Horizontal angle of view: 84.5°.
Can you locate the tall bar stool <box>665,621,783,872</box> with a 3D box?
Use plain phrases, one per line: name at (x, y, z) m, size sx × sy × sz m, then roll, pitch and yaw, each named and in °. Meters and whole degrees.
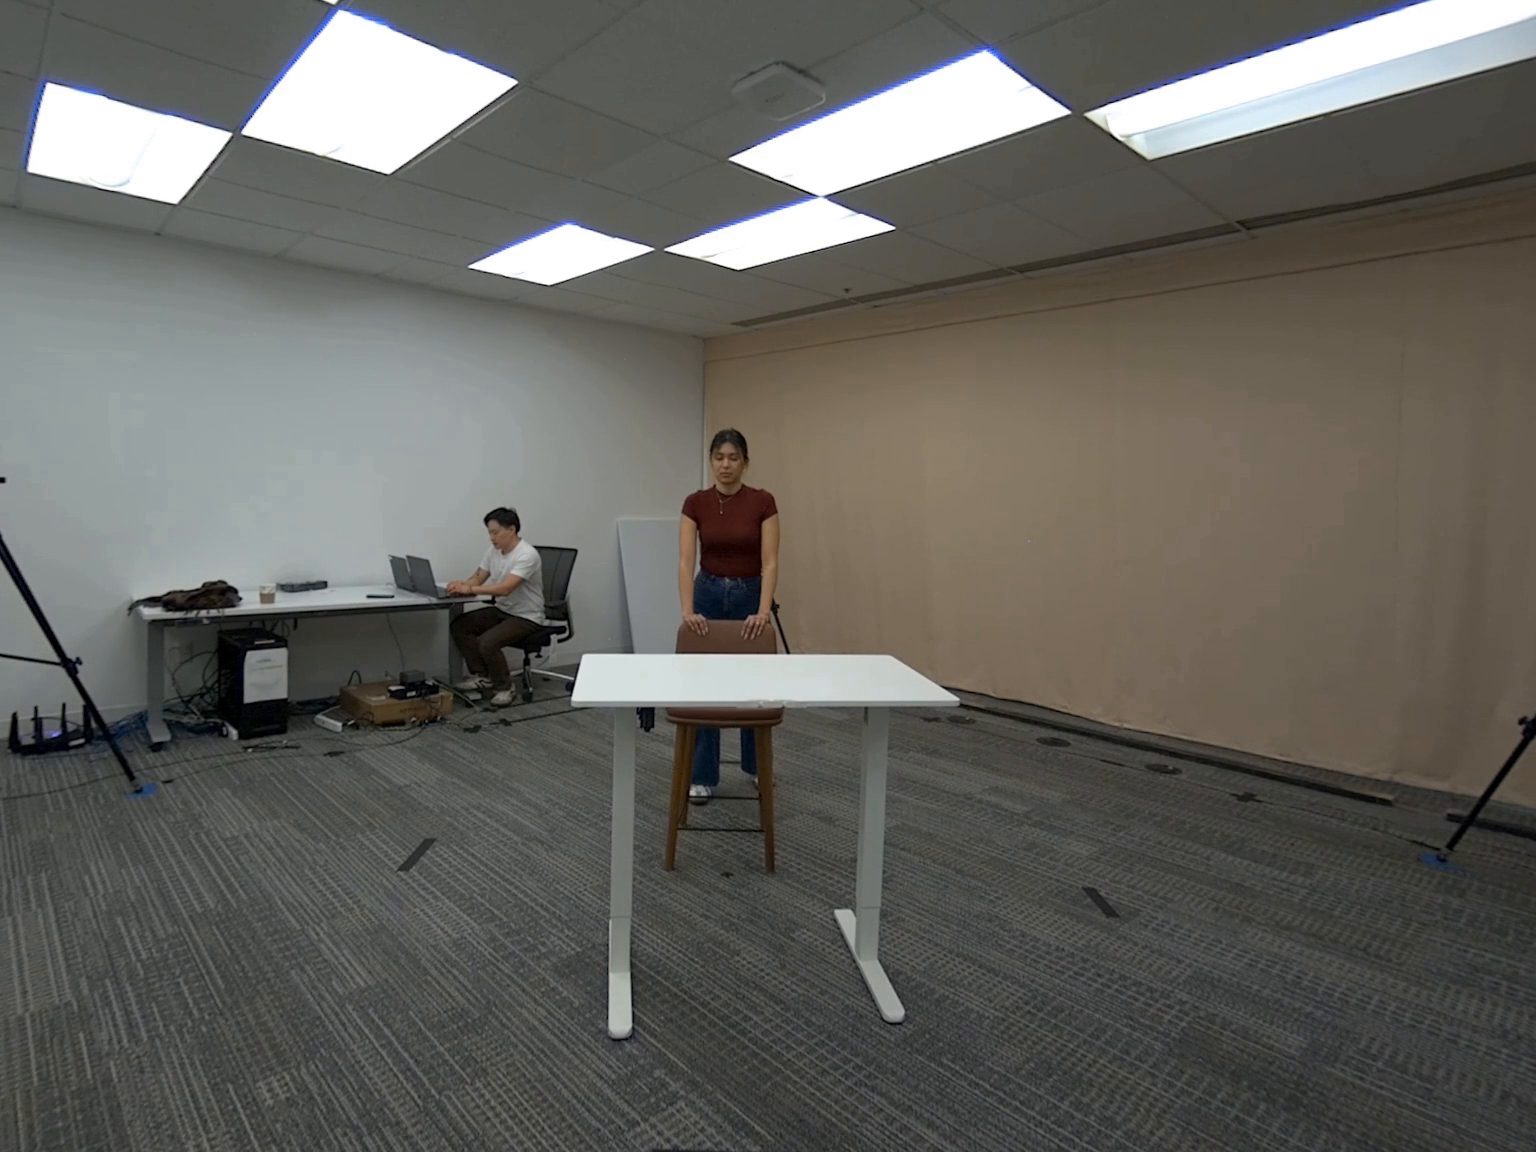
tall bar stool at (-0.176, 0.645, 3.338) m, size 0.457 × 0.890 × 0.467 m, roll 1°, pitch 0°, yaw 0°
